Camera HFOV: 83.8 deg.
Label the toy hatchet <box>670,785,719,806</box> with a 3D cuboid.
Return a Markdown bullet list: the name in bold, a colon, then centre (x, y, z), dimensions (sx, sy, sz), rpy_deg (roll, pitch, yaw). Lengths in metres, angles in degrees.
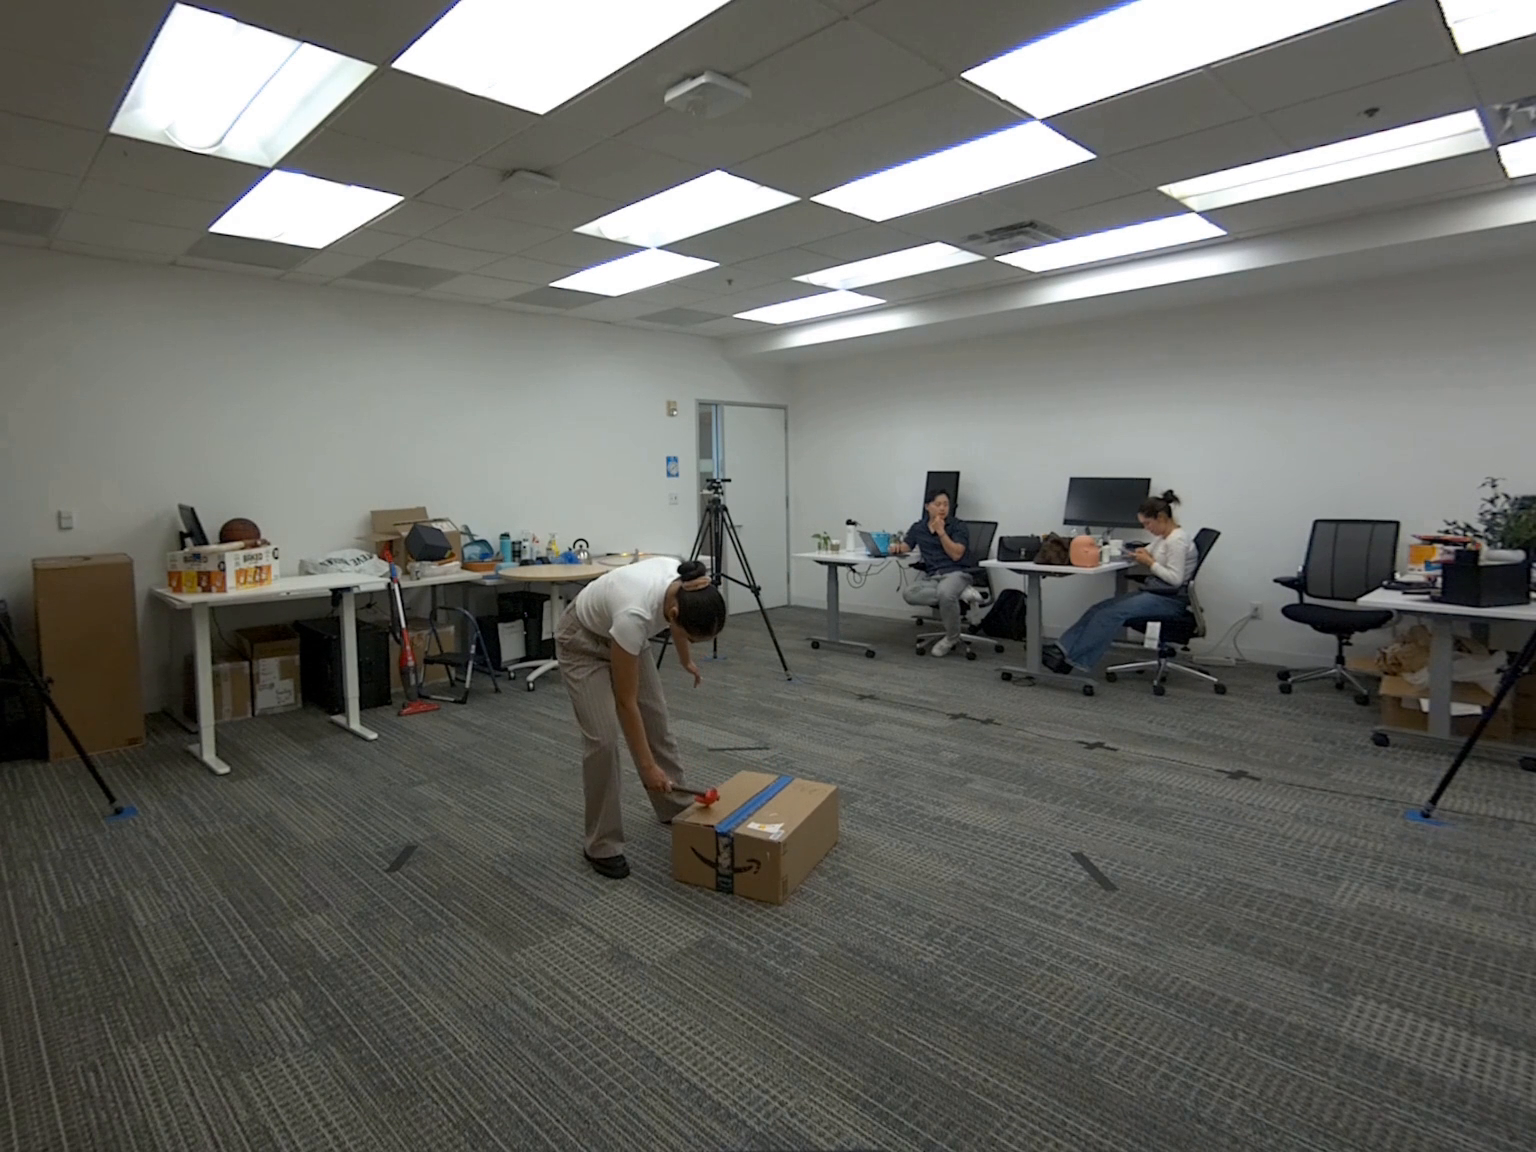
- **toy hatchet**: centre (-0.308, 0.788, 3.066), dimensions (0.271, 0.030, 0.127), rpy_deg (-1, -37, 5)
